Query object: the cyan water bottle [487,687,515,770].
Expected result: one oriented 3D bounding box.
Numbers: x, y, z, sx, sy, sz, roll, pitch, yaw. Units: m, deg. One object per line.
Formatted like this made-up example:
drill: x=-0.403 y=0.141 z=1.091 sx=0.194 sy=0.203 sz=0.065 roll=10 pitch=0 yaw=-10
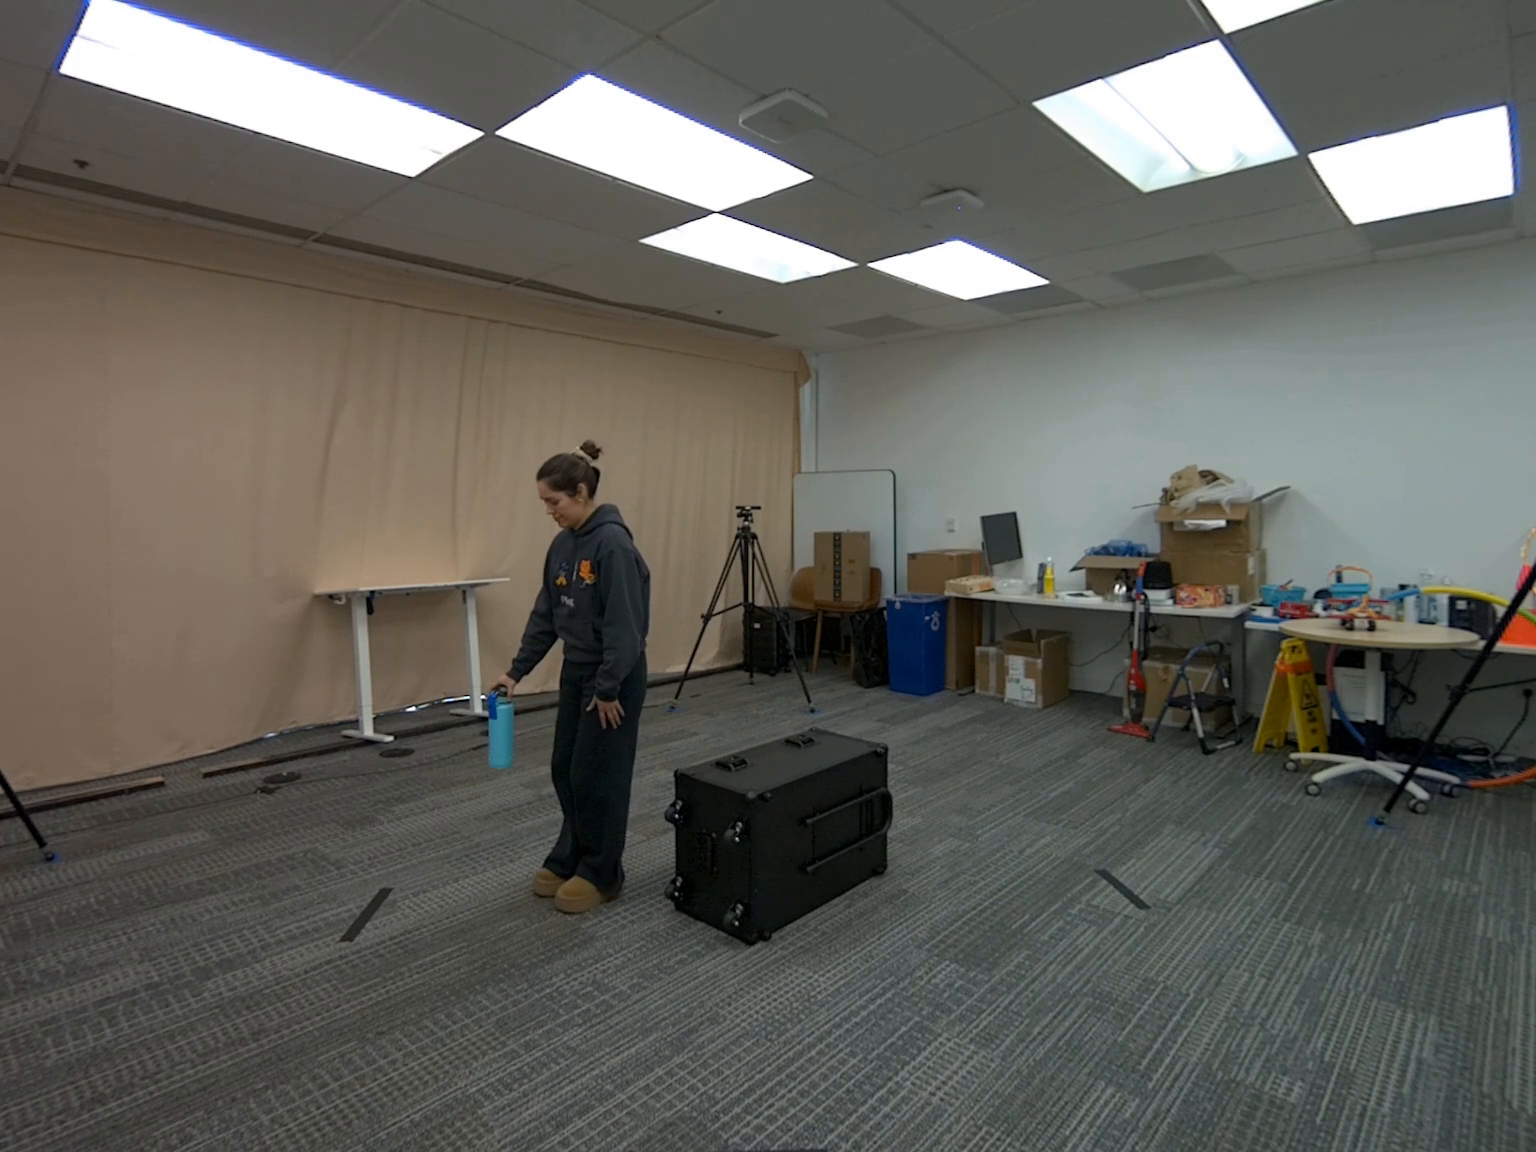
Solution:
cyan water bottle: x=-0.953 y=0.566 z=3.053 sx=0.092 sy=0.283 sz=0.092 roll=-1 pitch=1 yaw=-2
